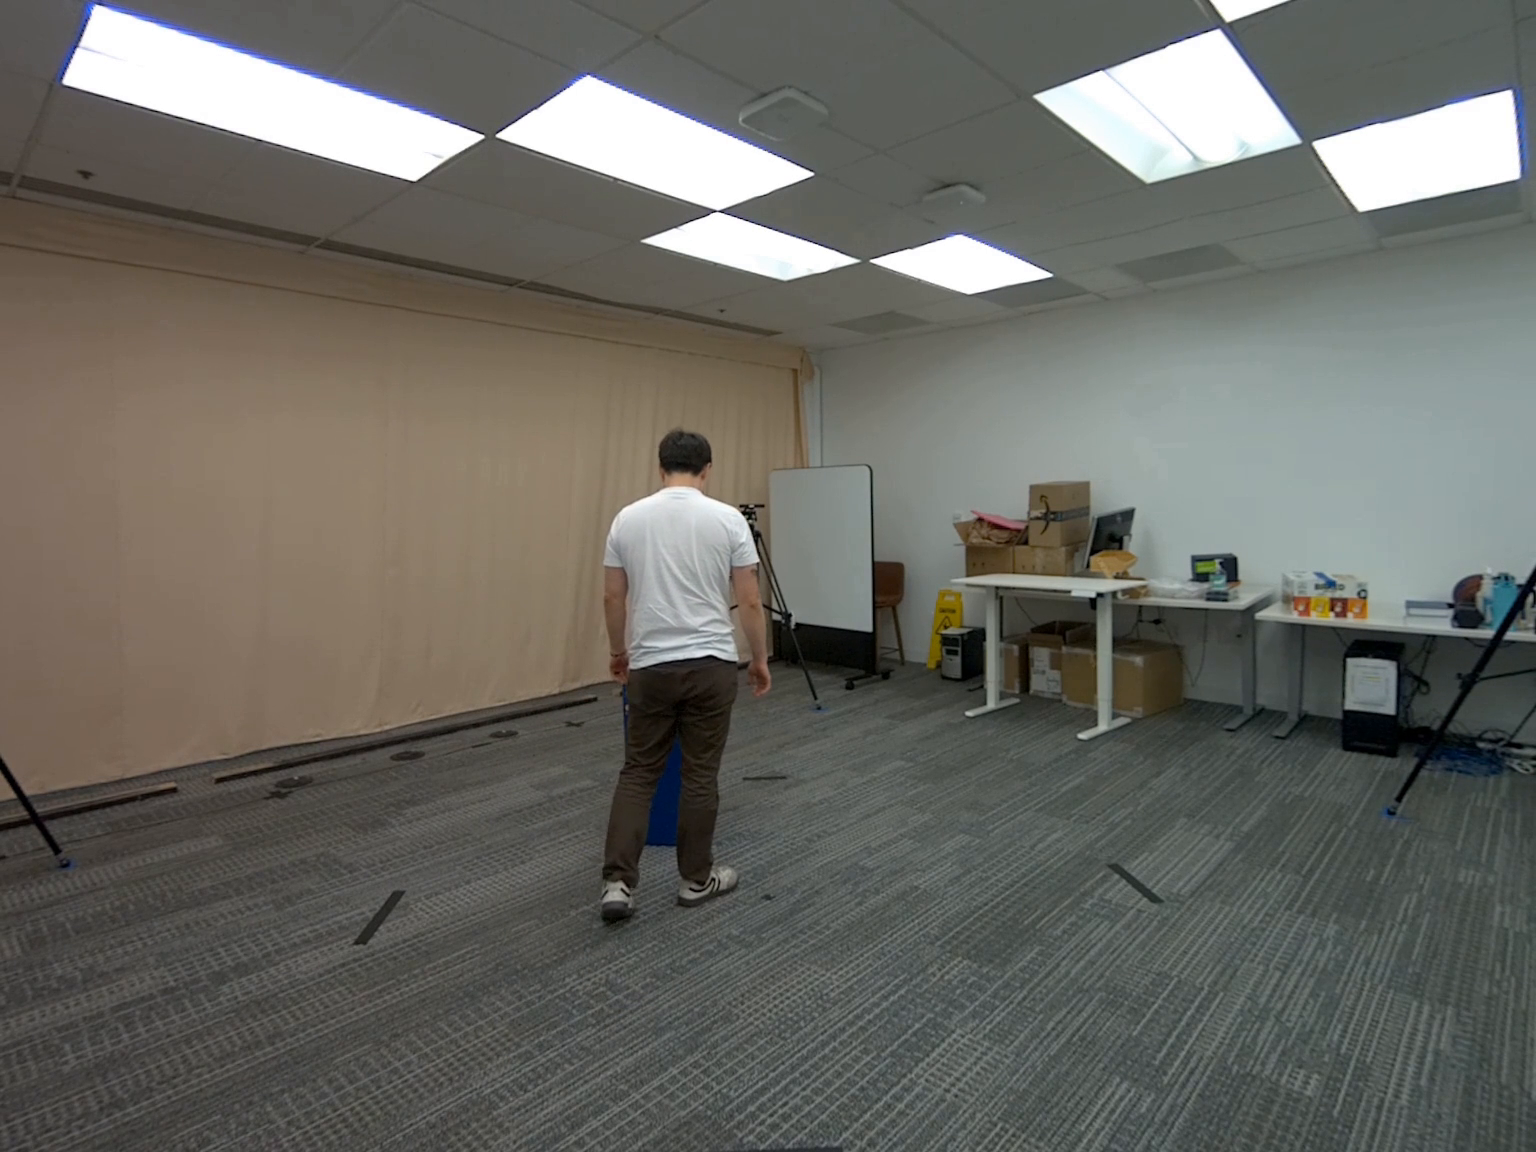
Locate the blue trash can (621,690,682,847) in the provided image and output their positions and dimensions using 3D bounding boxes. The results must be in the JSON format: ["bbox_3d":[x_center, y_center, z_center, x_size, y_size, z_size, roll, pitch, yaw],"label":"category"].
[{"bbox_3d":[-0.417,0.740,3.572,0.381,0.712,0.371,0,3,7],"label":"blue trash can"}]
